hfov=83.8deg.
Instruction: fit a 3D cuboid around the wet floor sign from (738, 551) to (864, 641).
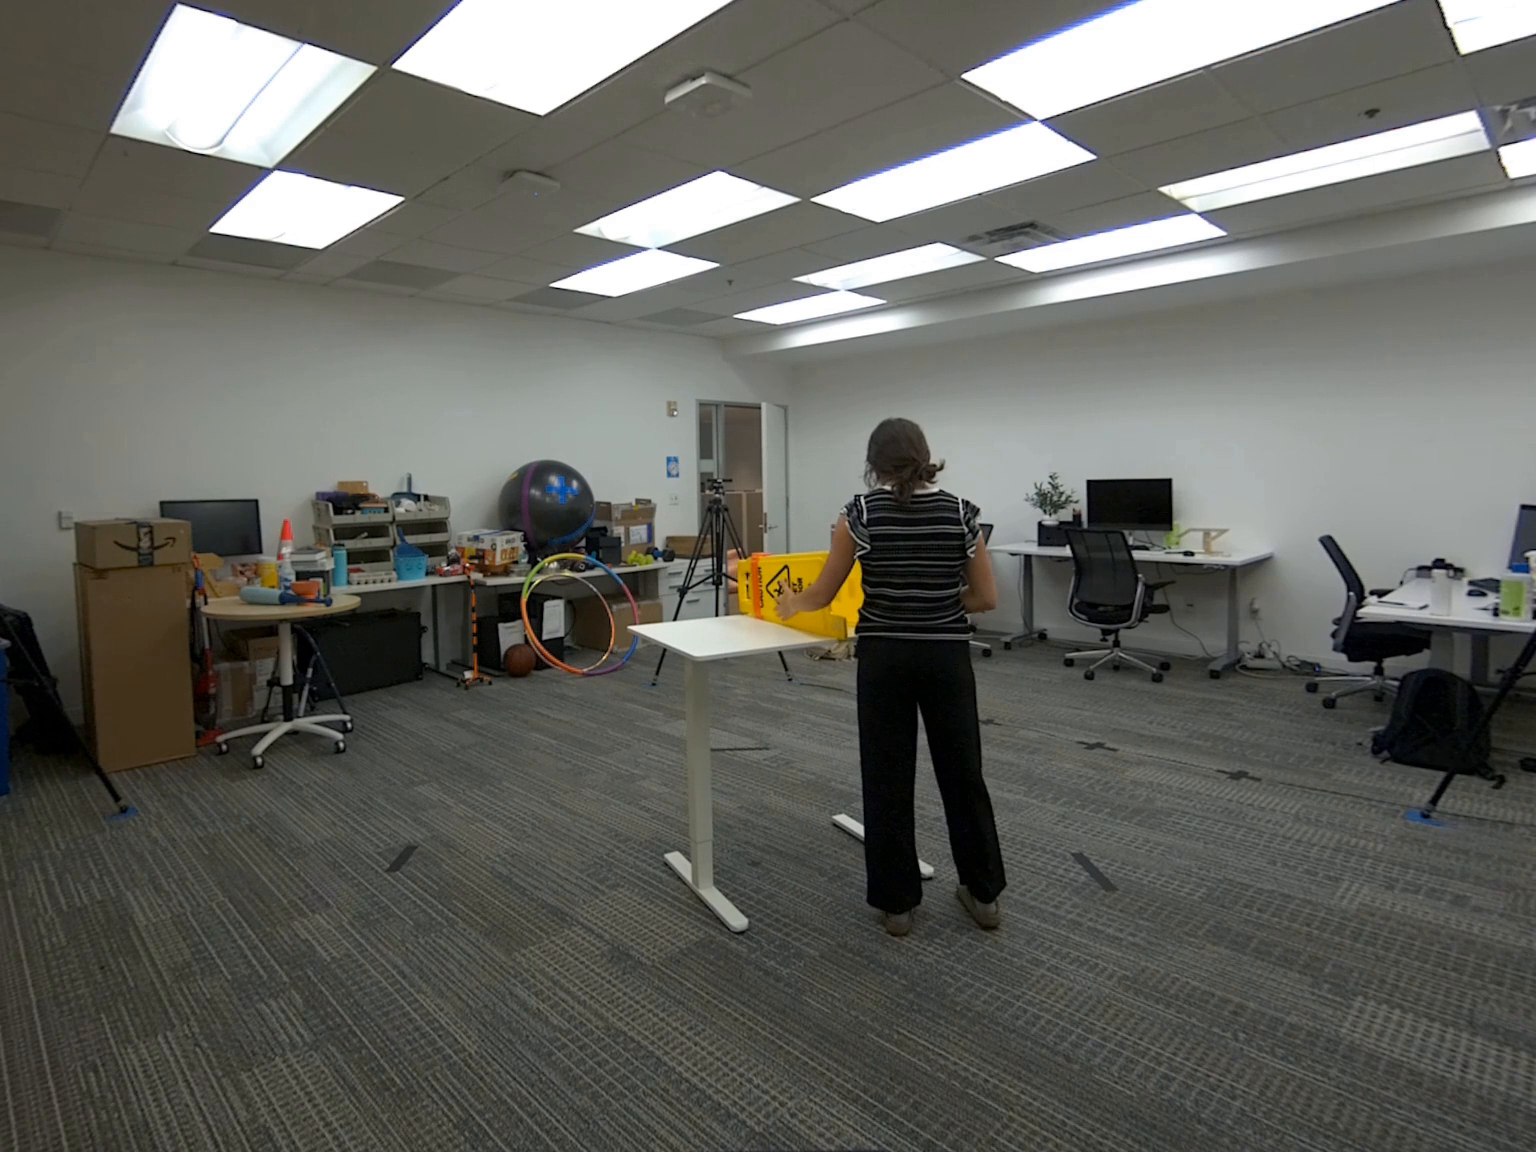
[{"bbox_3d":[0.102,0.048,3.014,0.282,0.282,0.665,-4,4,-41],"label":"wet floor sign"}]
